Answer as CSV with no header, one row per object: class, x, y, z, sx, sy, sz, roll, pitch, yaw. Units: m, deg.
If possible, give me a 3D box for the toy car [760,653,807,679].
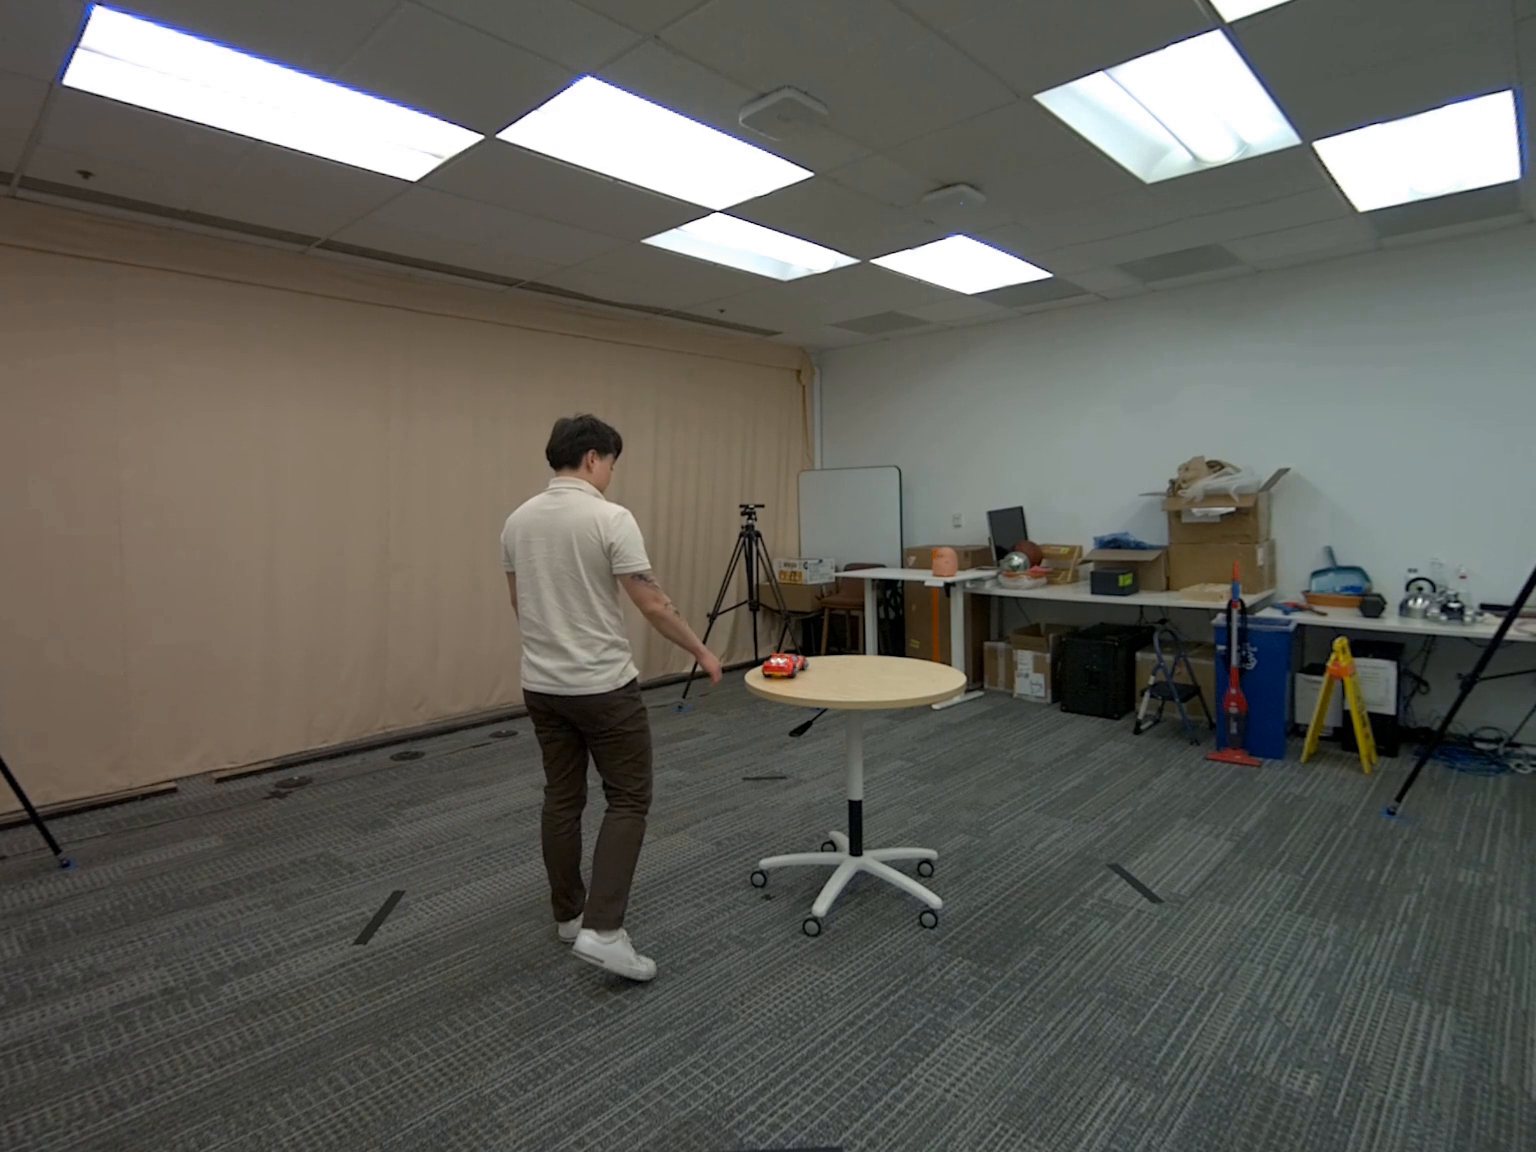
toy car,0.057,0.322,3.007,0.133,0.083,0.248,0,-7,19
